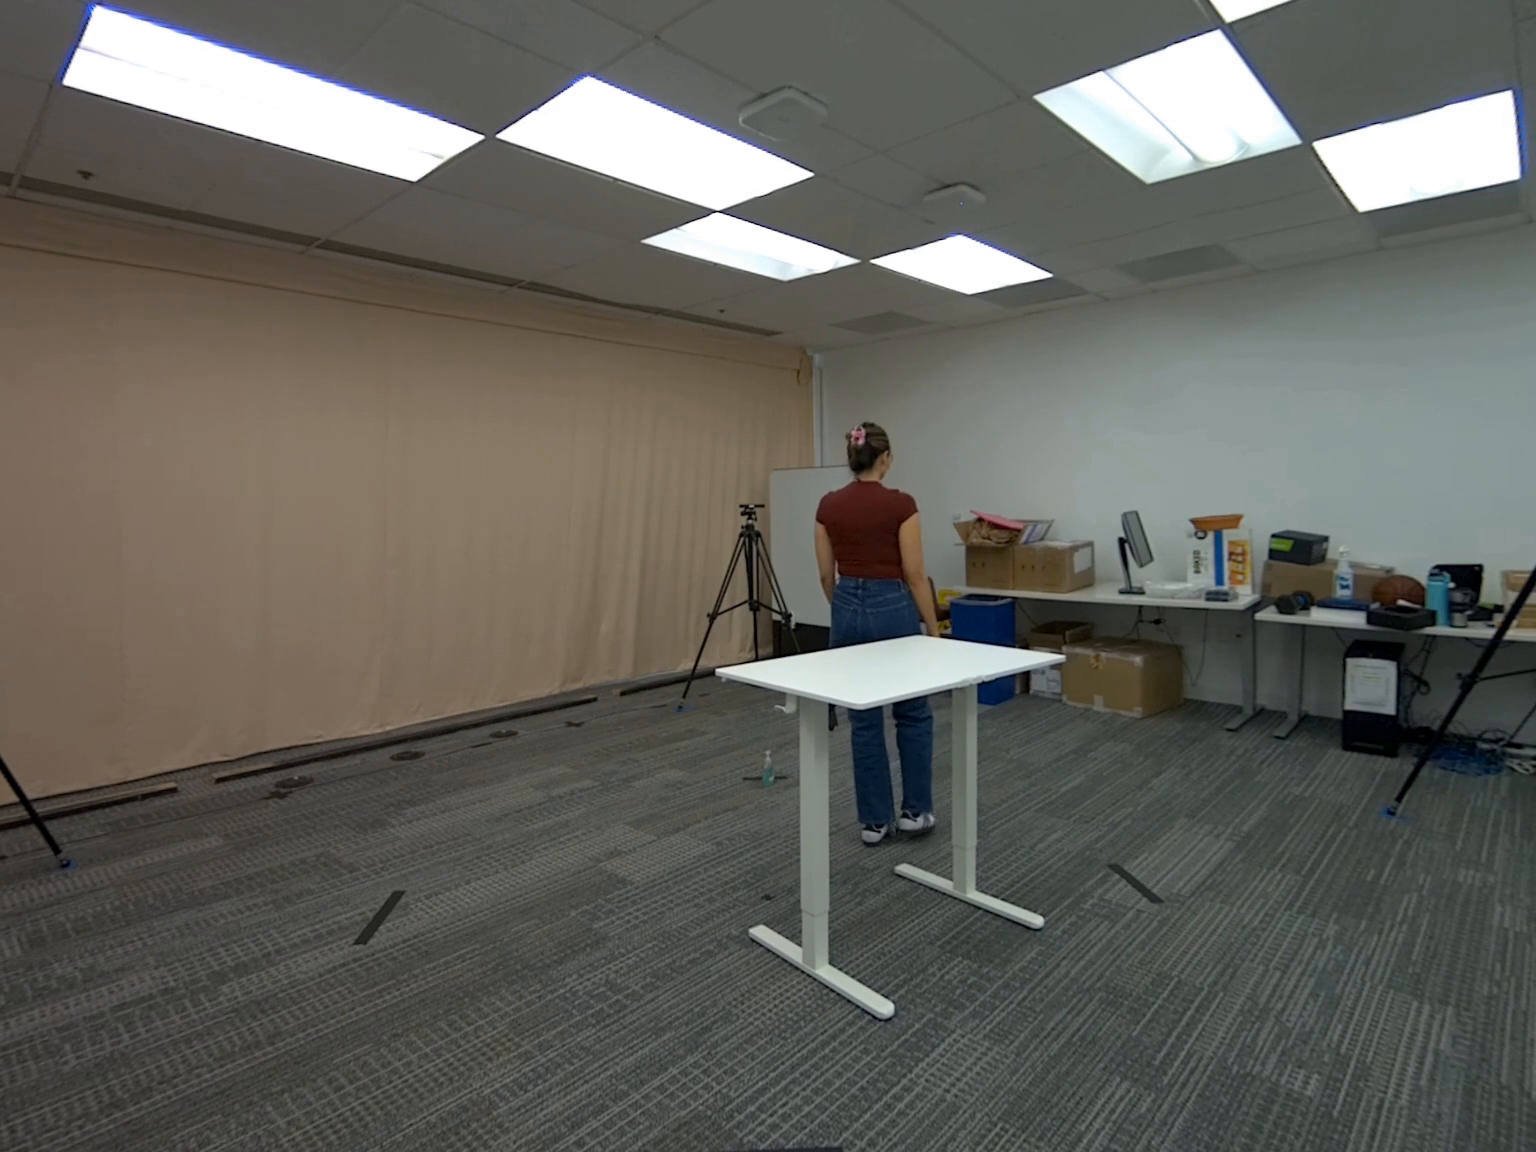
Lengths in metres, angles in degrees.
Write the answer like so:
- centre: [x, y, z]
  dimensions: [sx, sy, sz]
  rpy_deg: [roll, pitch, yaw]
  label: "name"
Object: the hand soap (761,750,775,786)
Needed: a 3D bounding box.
- centre: [0.001, 0.960, 4.200]
  dimensions: [0.044, 0.168, 0.083]
  rpy_deg: [-3, 2, 22]
  label: "hand soap"
